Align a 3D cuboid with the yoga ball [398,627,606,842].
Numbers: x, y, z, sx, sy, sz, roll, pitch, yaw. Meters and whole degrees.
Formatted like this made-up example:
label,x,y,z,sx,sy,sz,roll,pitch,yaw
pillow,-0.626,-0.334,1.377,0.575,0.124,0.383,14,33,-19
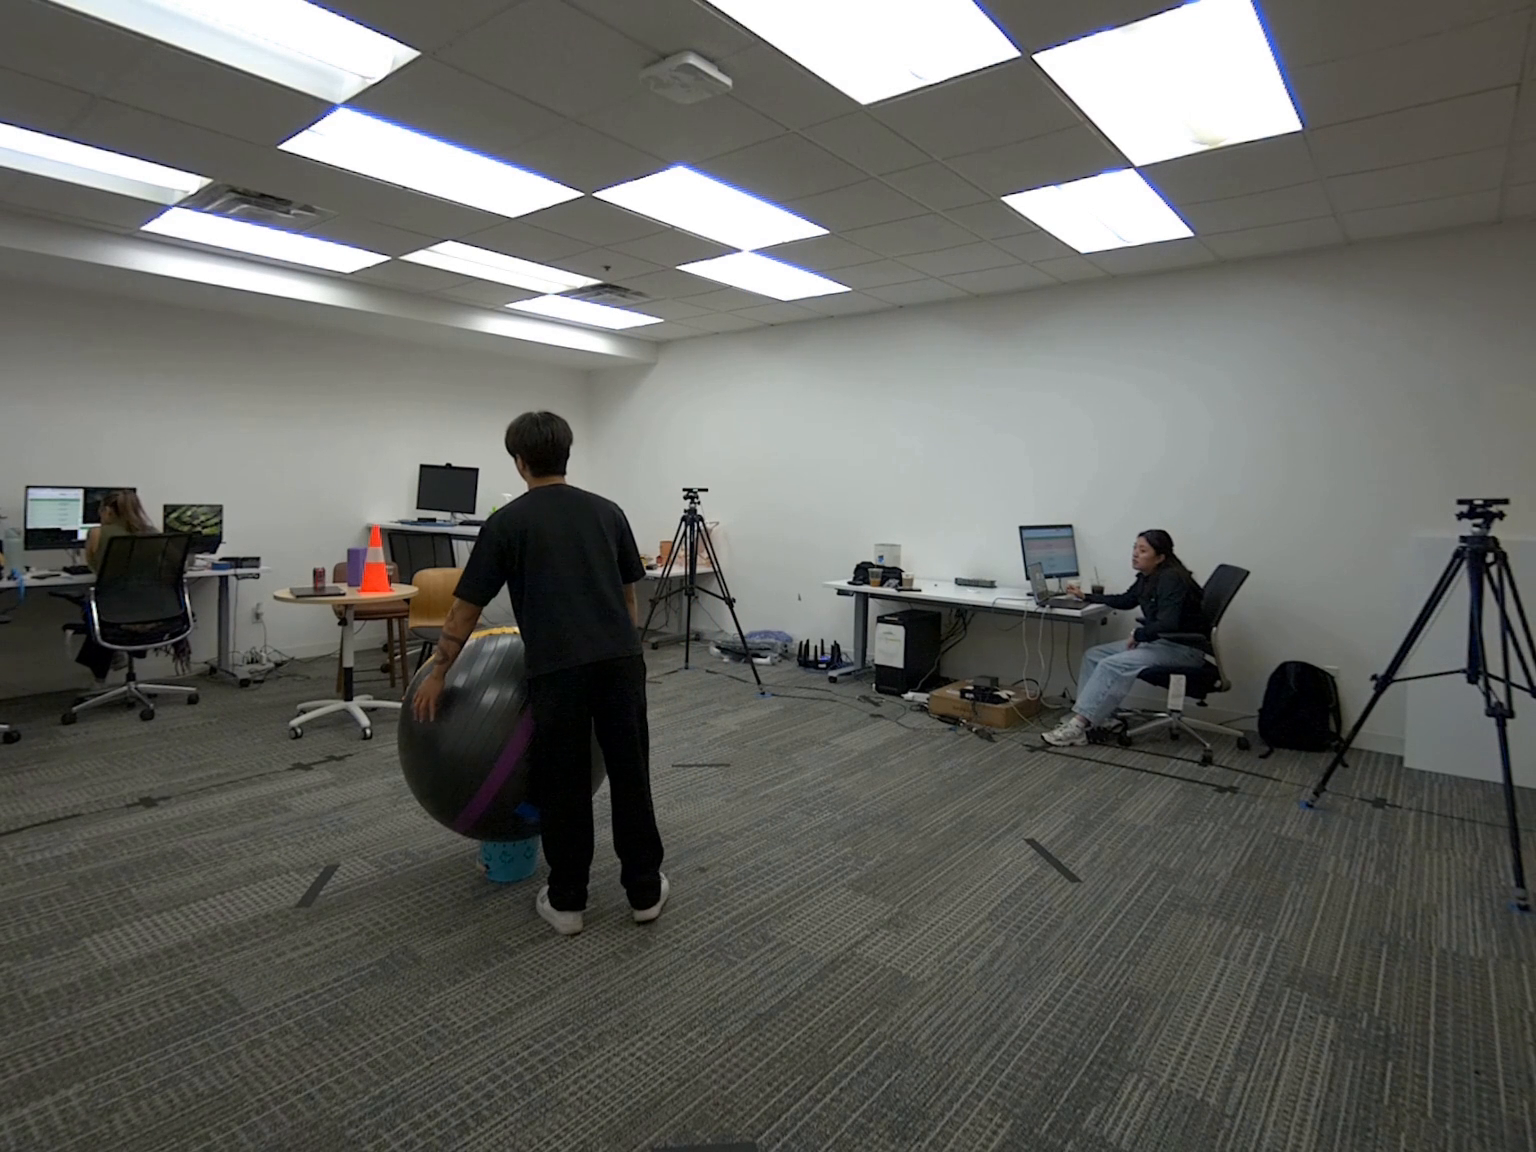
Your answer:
label,x,y,z,sx,sy,sz,roll,pitch,yaw
yoga ball,-0.949,0.561,3.043,0.757,0.755,0.762,1,4,-2
